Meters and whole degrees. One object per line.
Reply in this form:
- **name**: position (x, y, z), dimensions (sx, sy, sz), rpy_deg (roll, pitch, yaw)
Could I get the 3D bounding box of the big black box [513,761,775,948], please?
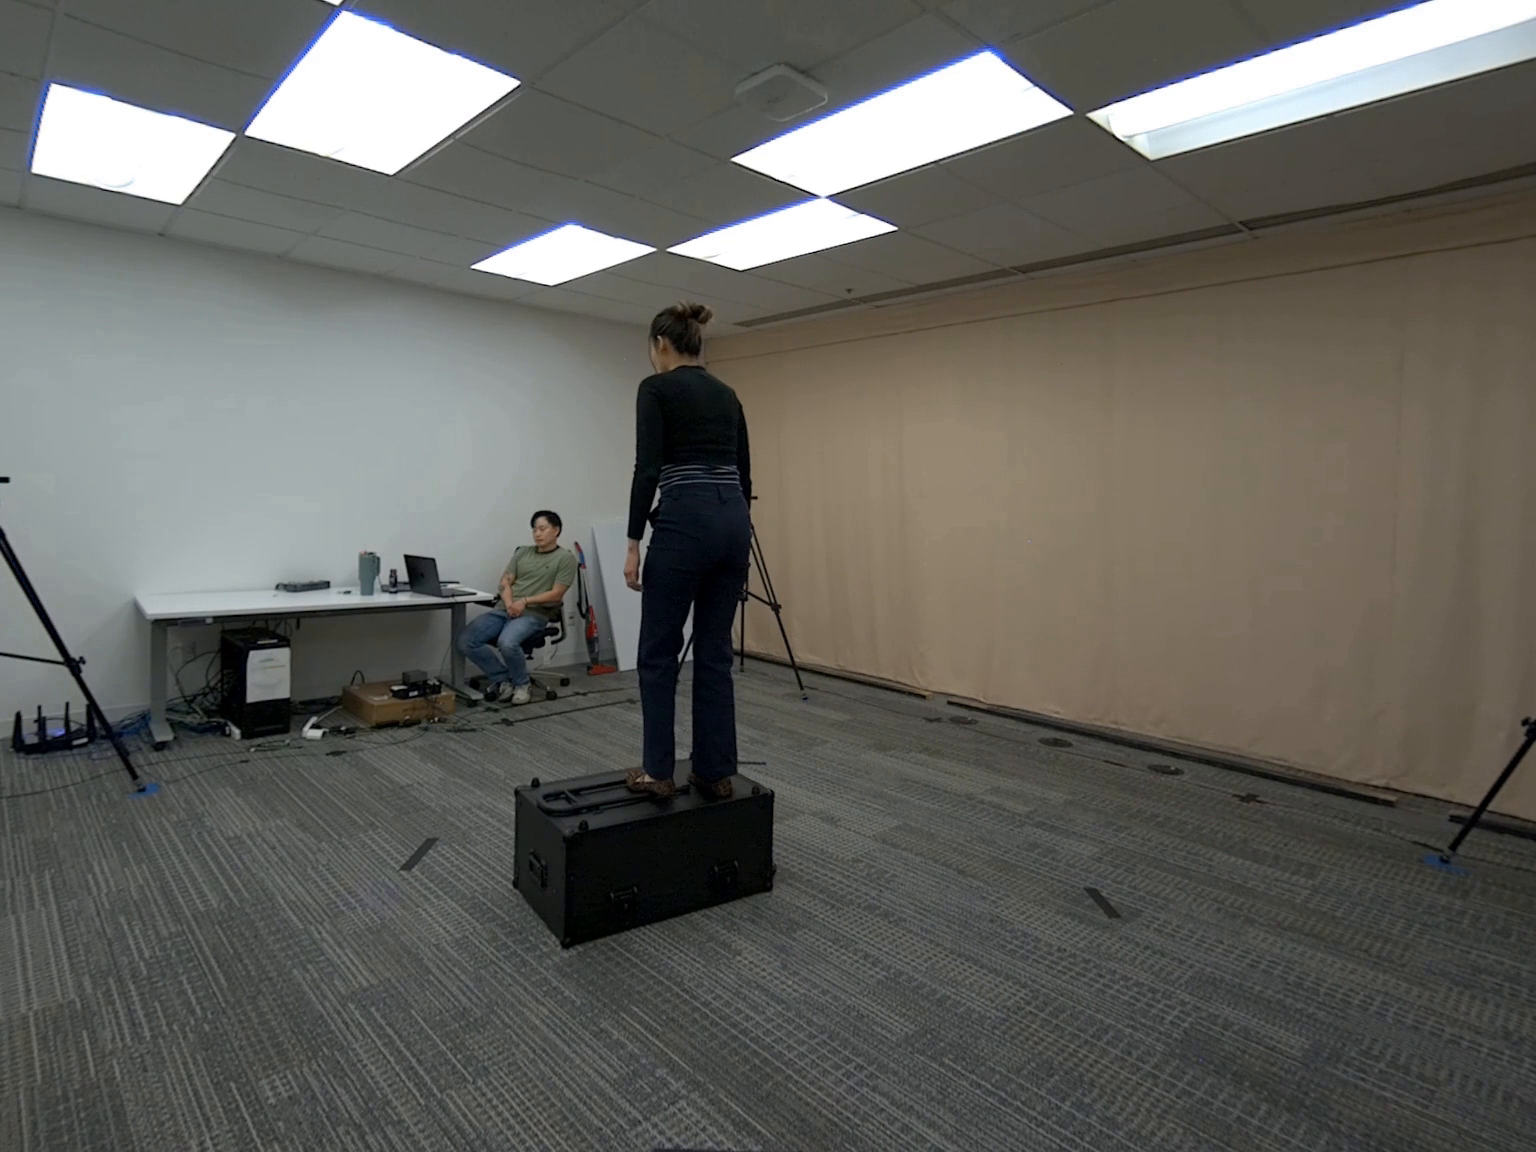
- **big black box**: position (-0.465, 0.939, 2.947), dimensions (0.843, 0.395, 0.534), rpy_deg (-2, 6, -34)
